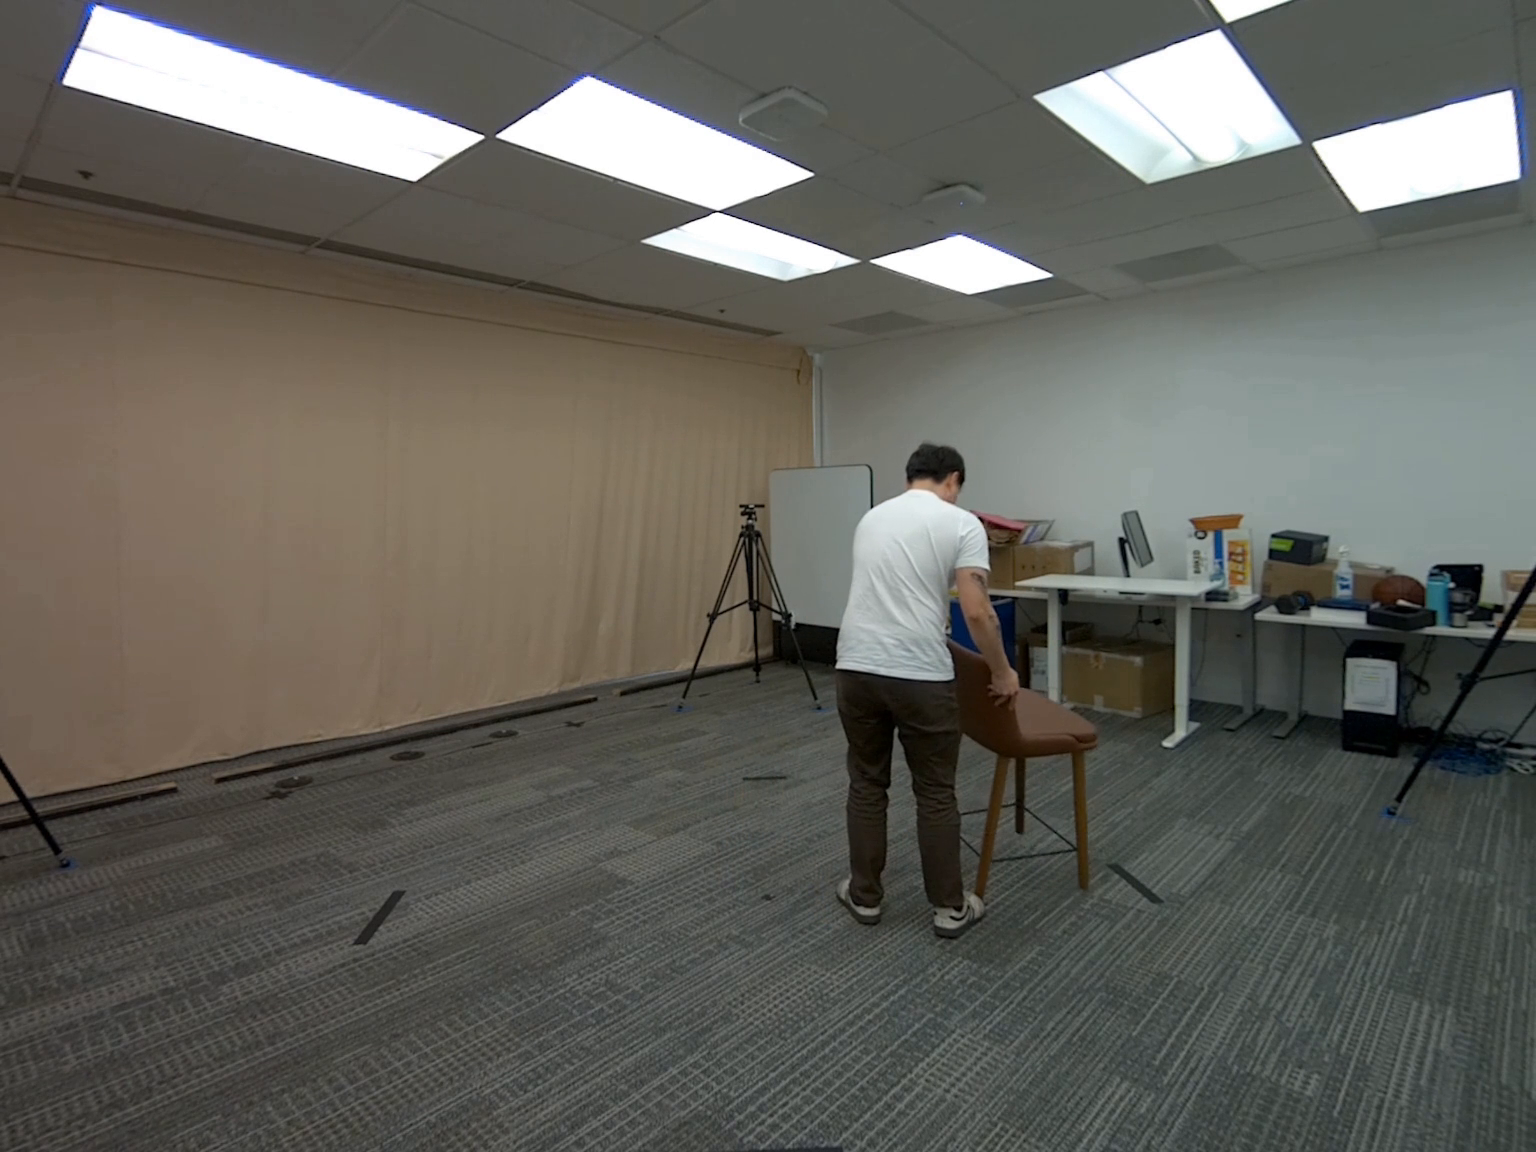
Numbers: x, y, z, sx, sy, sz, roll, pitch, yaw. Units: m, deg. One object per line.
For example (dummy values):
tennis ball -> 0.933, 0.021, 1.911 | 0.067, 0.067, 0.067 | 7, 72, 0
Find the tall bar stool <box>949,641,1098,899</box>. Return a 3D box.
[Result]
tall bar stool -> 0.876, 0.661, 3.049 | 0.460, 0.882, 0.467 | -4, 13, -17
